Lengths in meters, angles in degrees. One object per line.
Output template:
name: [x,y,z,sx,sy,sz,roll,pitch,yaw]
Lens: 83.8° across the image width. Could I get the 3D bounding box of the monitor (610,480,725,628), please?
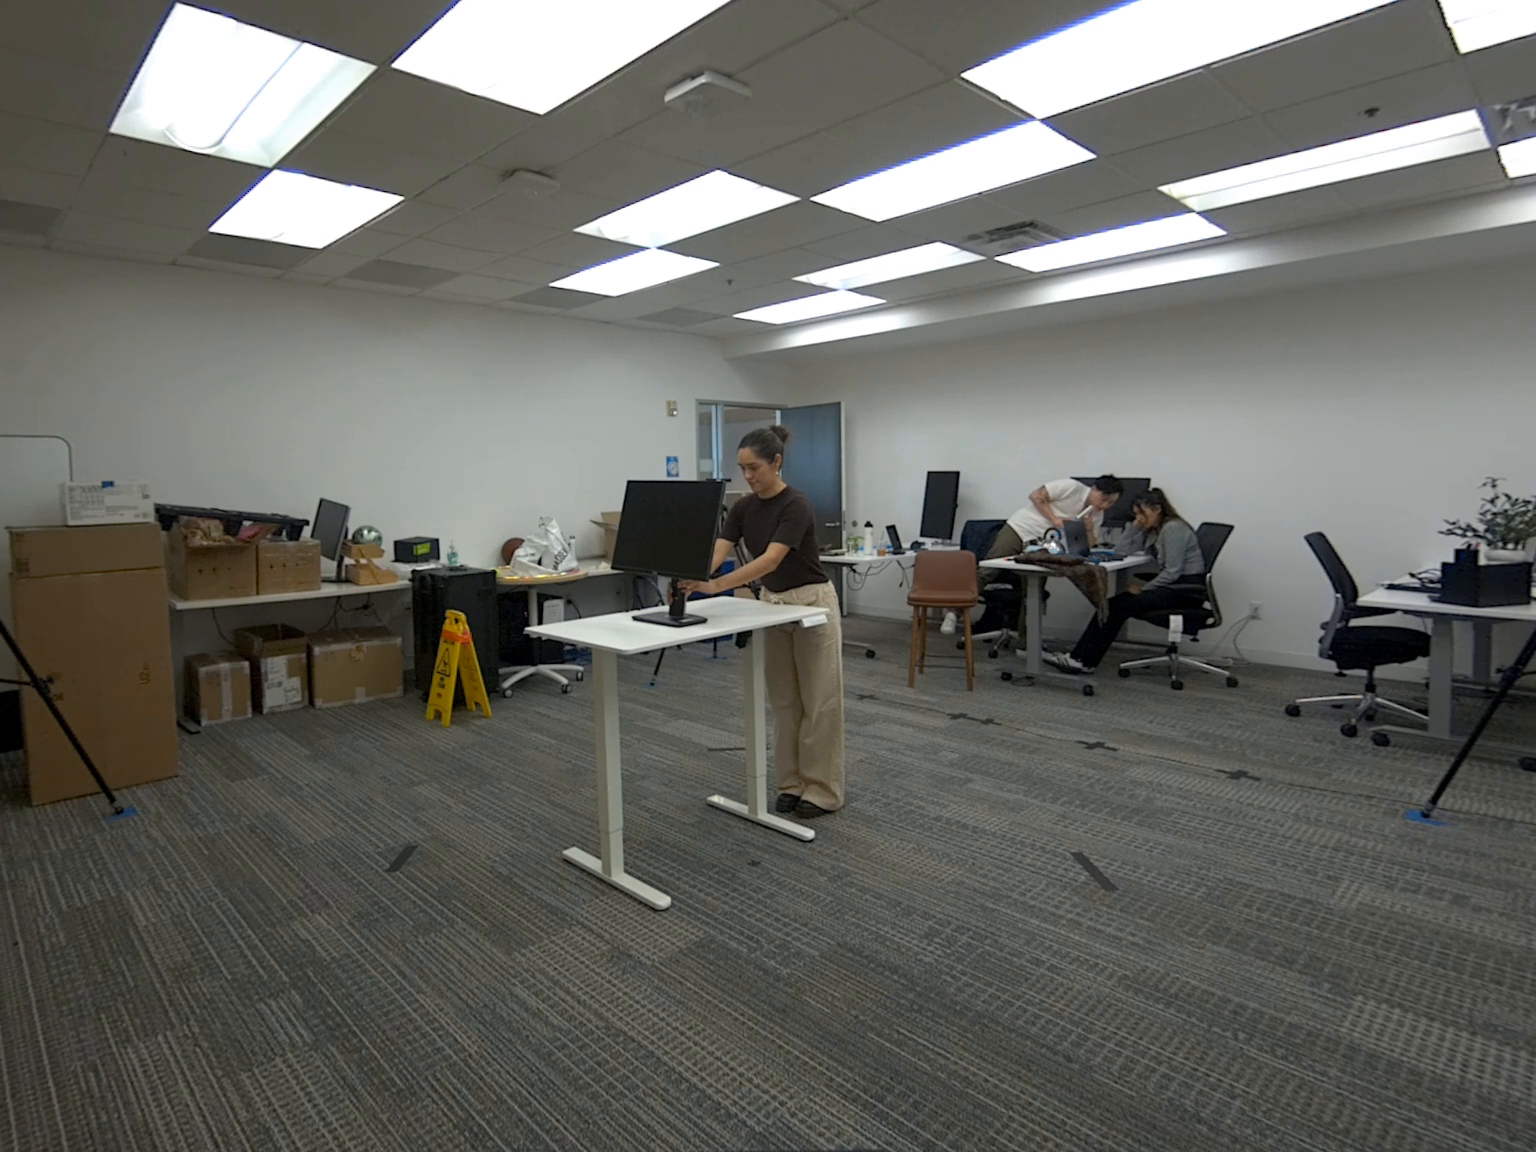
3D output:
monitor: [-0.356,-0.090,3.126,0.547,0.512,0.170,6,10,42]
